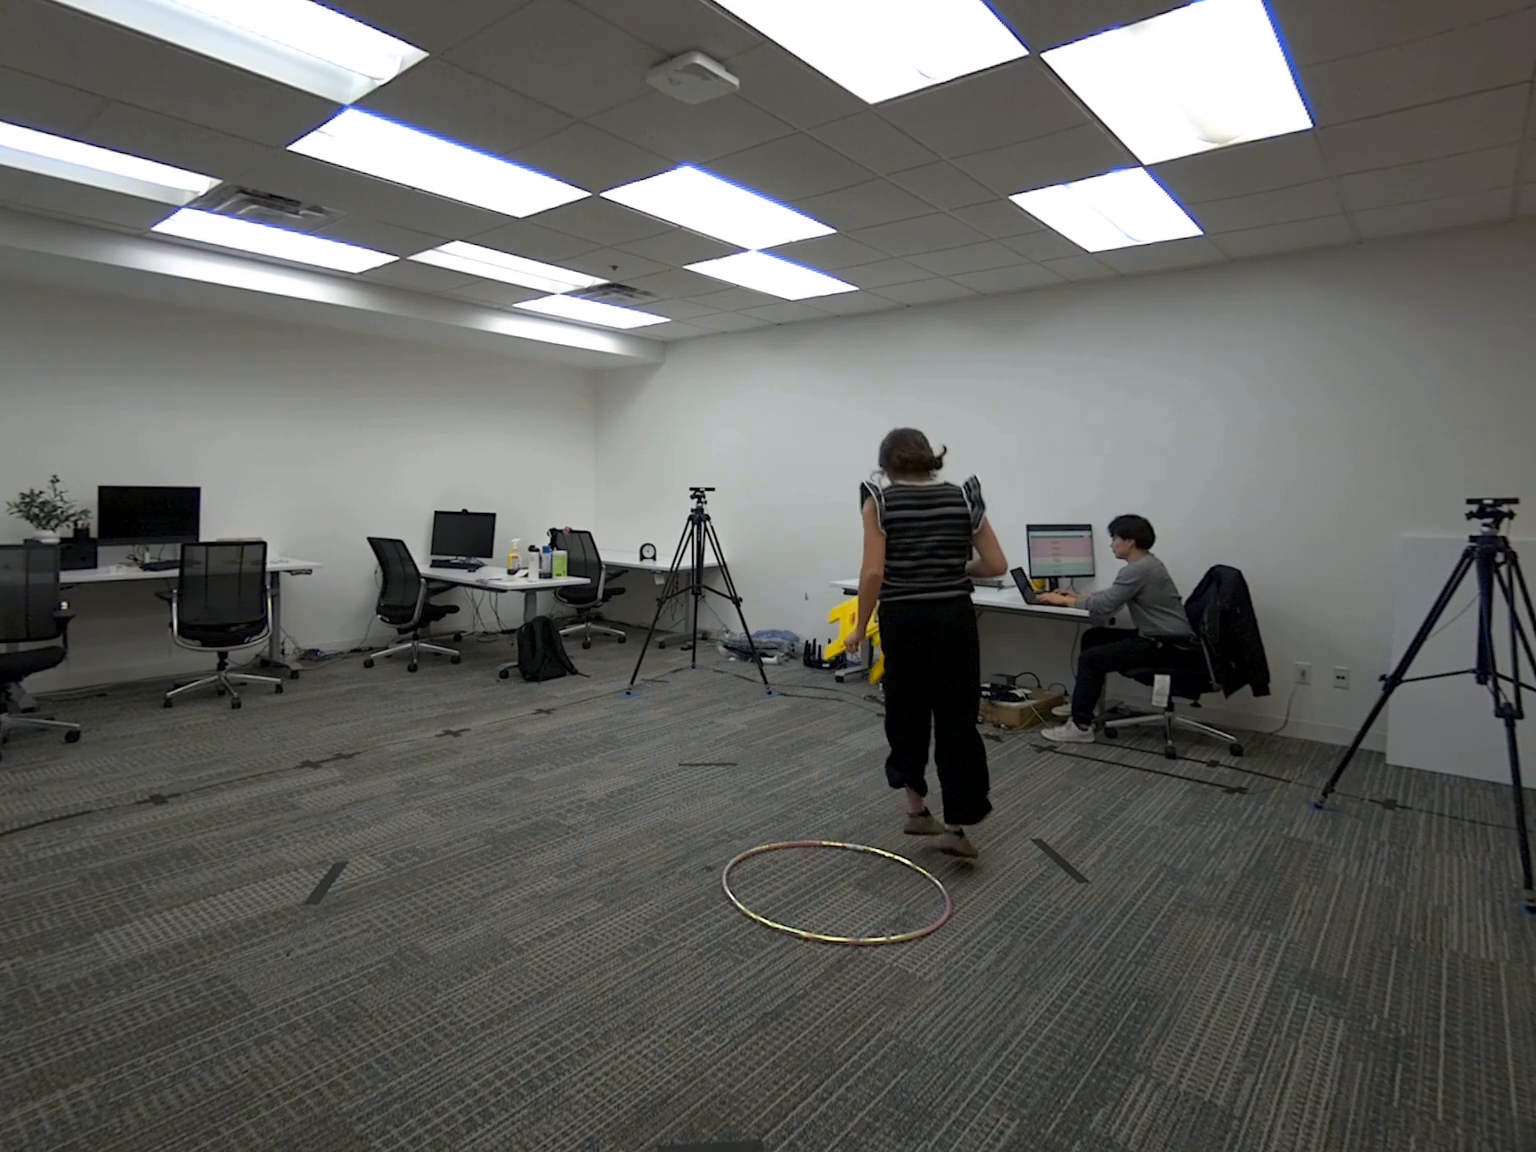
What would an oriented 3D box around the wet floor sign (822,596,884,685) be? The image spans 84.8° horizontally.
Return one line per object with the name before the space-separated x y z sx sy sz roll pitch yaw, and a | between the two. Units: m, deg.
wet floor sign | 0.526 0.157 3.429 0.283 0.288 0.646 28 -46 -17
